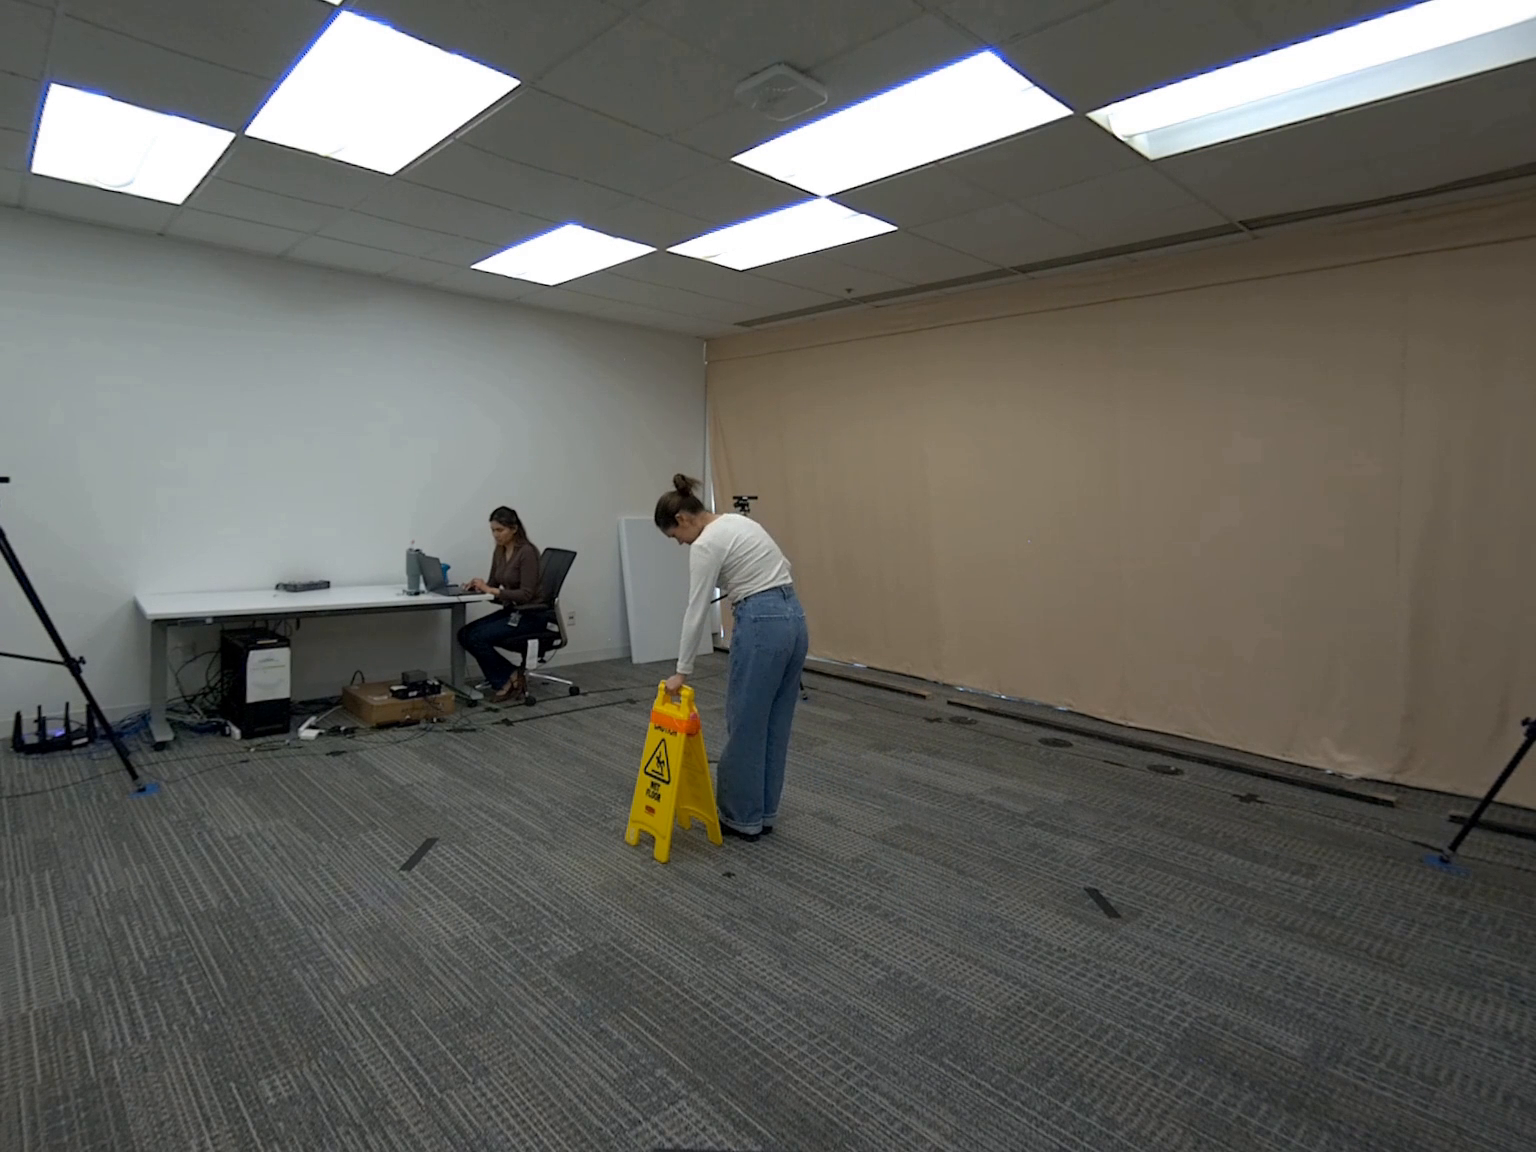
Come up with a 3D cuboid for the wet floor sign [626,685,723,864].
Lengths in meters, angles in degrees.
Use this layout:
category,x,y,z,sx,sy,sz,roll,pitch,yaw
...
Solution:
category,x,y,z,sx,sy,sz,roll,pitch,yaw
wet floor sign,-0.376,0.750,3.366,0.283,0.645,0.289,-1,4,-43
